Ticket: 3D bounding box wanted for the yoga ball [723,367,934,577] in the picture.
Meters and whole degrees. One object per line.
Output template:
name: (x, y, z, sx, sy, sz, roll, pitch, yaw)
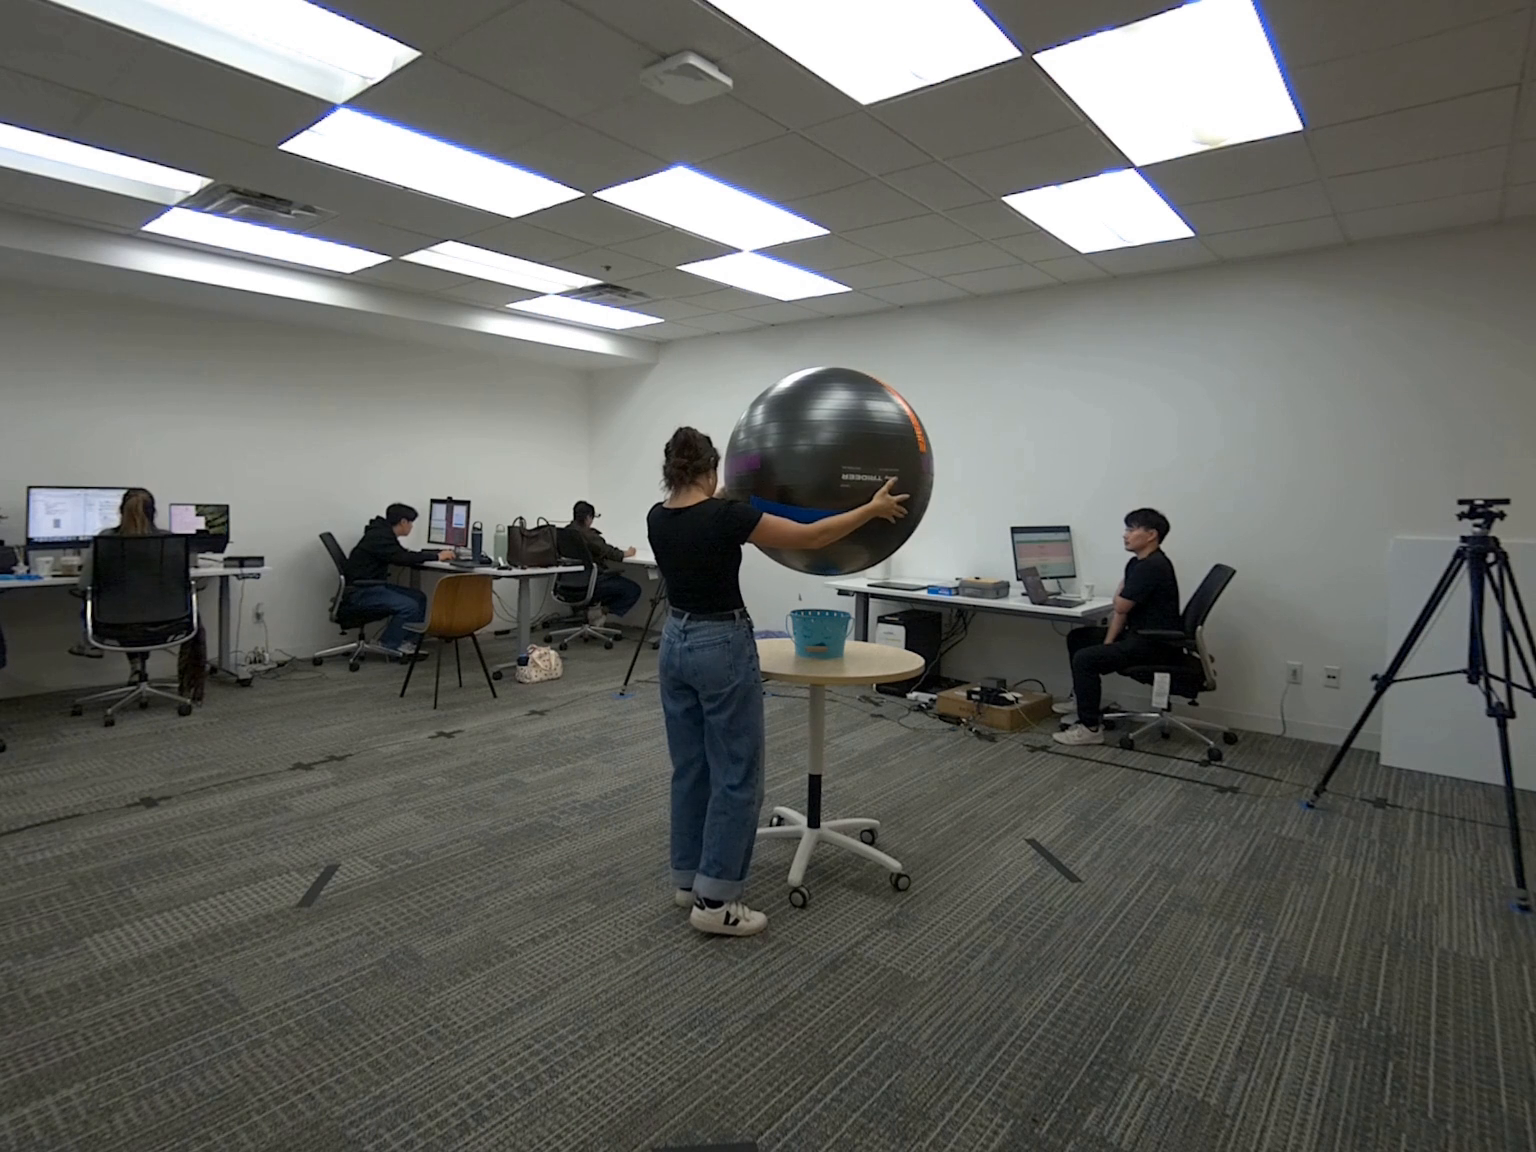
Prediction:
yoga ball: (0.226, -0.384, 3.133, 0.757, 0.756, 0.762, 1, 4, -2)
